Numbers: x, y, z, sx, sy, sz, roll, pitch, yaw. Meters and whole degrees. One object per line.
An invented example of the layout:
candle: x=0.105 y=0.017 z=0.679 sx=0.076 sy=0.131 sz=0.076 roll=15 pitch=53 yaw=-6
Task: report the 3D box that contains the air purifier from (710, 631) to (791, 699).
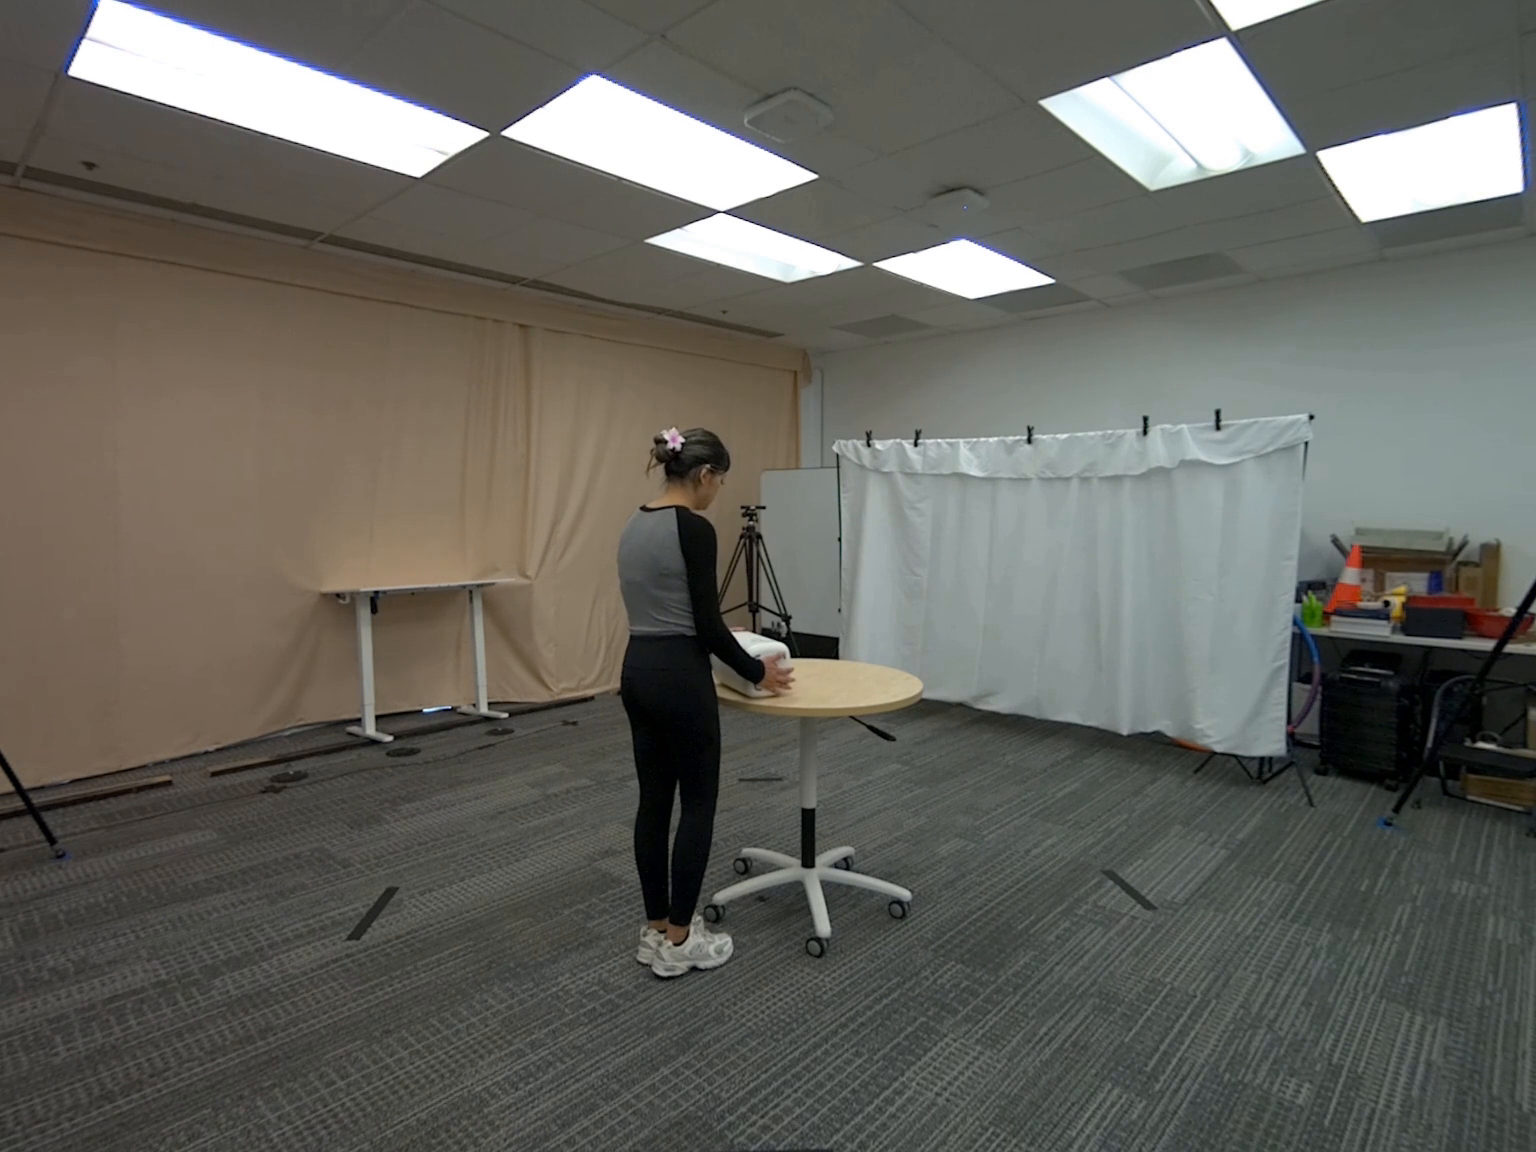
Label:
air purifier: x=-0.046 y=0.286 z=2.739 sx=0.167 sy=0.171 sz=0.272 roll=-4 pitch=6 yaw=-23
